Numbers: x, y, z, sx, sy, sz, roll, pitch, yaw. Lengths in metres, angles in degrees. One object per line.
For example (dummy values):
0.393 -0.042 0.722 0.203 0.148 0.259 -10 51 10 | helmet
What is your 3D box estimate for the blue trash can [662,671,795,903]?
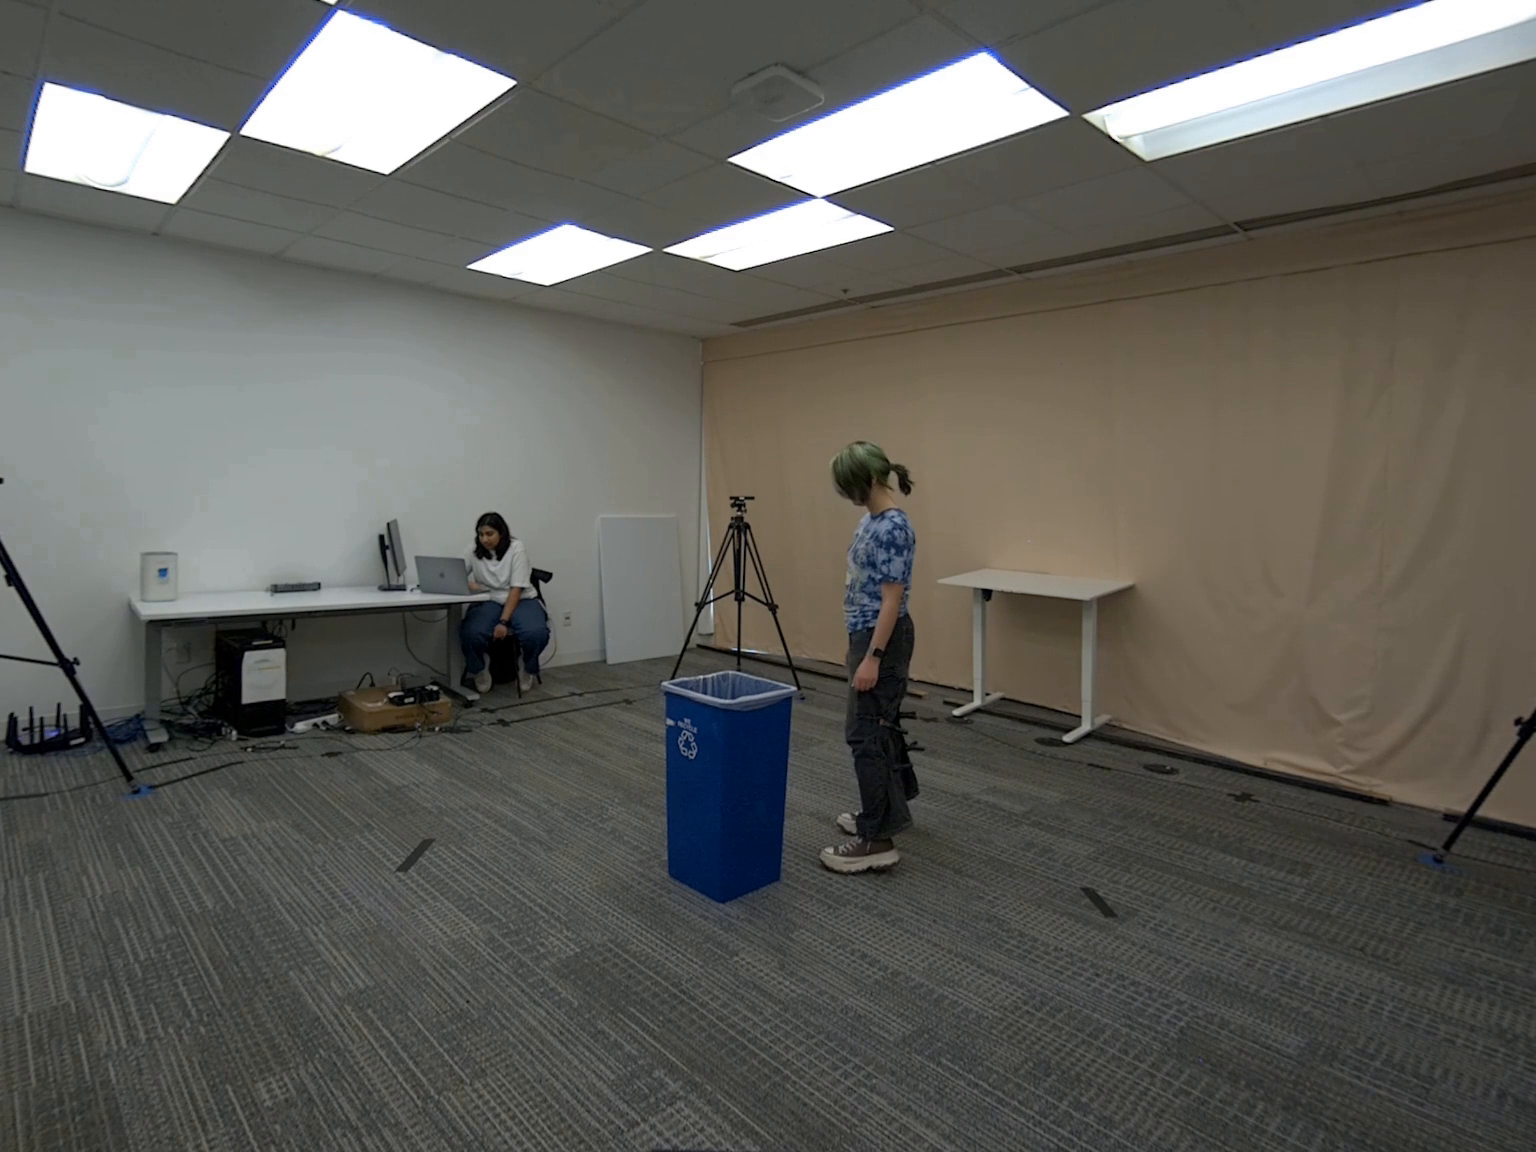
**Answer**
-0.154 0.751 3.063 0.369 0.712 0.383 -2 5 -44 | blue trash can
